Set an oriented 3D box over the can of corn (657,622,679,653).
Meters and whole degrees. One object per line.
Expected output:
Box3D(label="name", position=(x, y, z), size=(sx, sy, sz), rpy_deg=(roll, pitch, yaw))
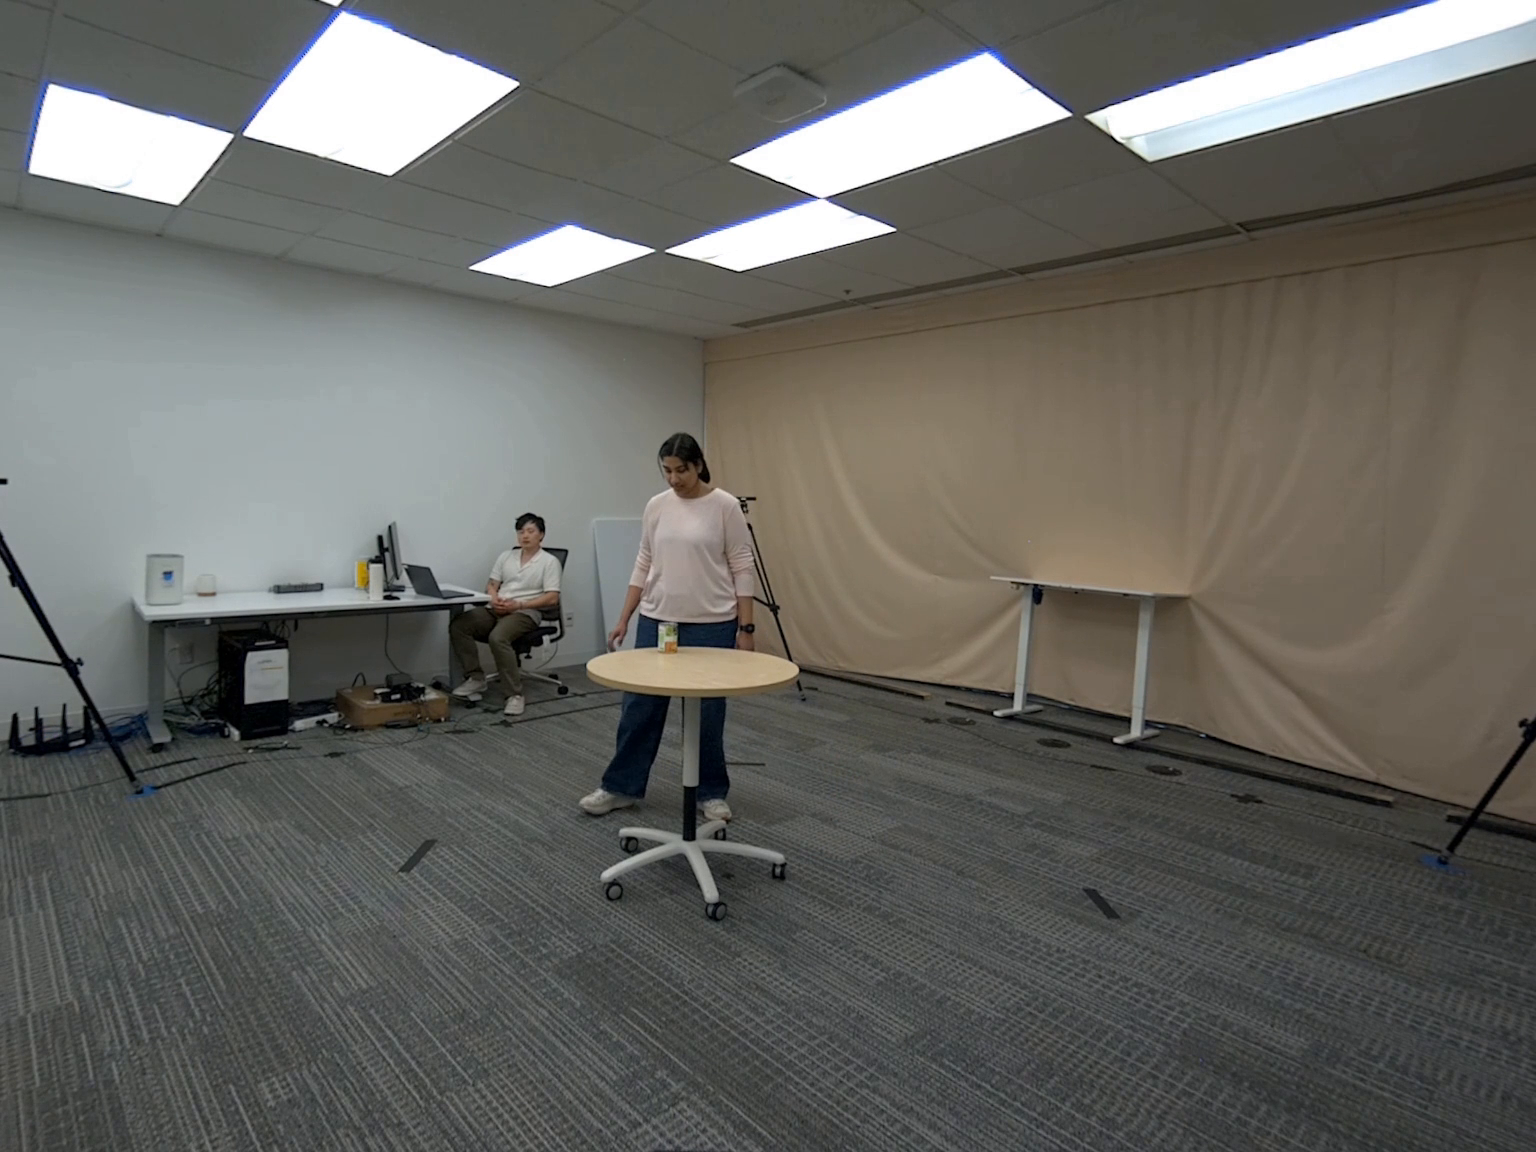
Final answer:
Box3D(label="can of corn", position=(-0.413, 0.245, 3.297), size=(0.074, 0.111, 0.074), rpy_deg=(-1, -1, -1))
